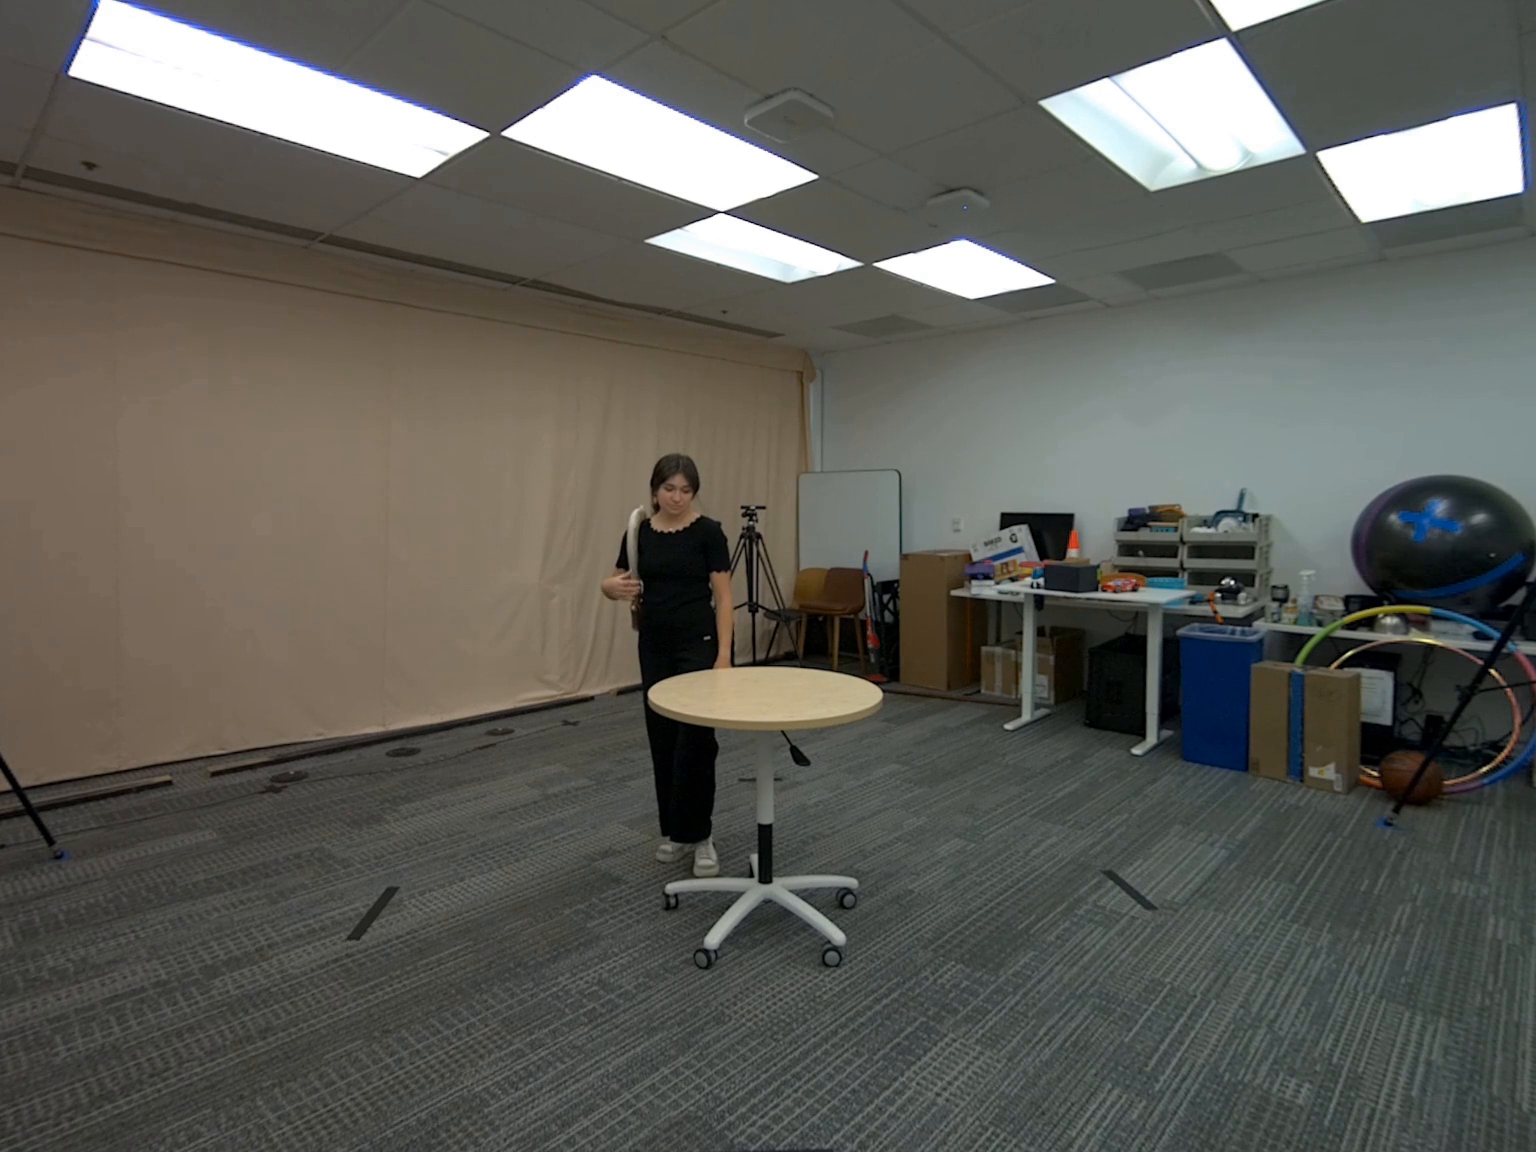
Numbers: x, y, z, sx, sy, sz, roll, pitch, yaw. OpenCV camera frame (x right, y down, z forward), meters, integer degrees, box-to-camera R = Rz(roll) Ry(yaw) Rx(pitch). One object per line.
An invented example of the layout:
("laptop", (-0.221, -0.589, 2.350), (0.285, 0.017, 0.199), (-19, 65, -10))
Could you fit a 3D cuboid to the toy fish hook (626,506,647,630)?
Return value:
("toy fish hook", (-0.516, -0.029, 3.434), (0.049, 0.502, 0.223), (5, 16, 12))
